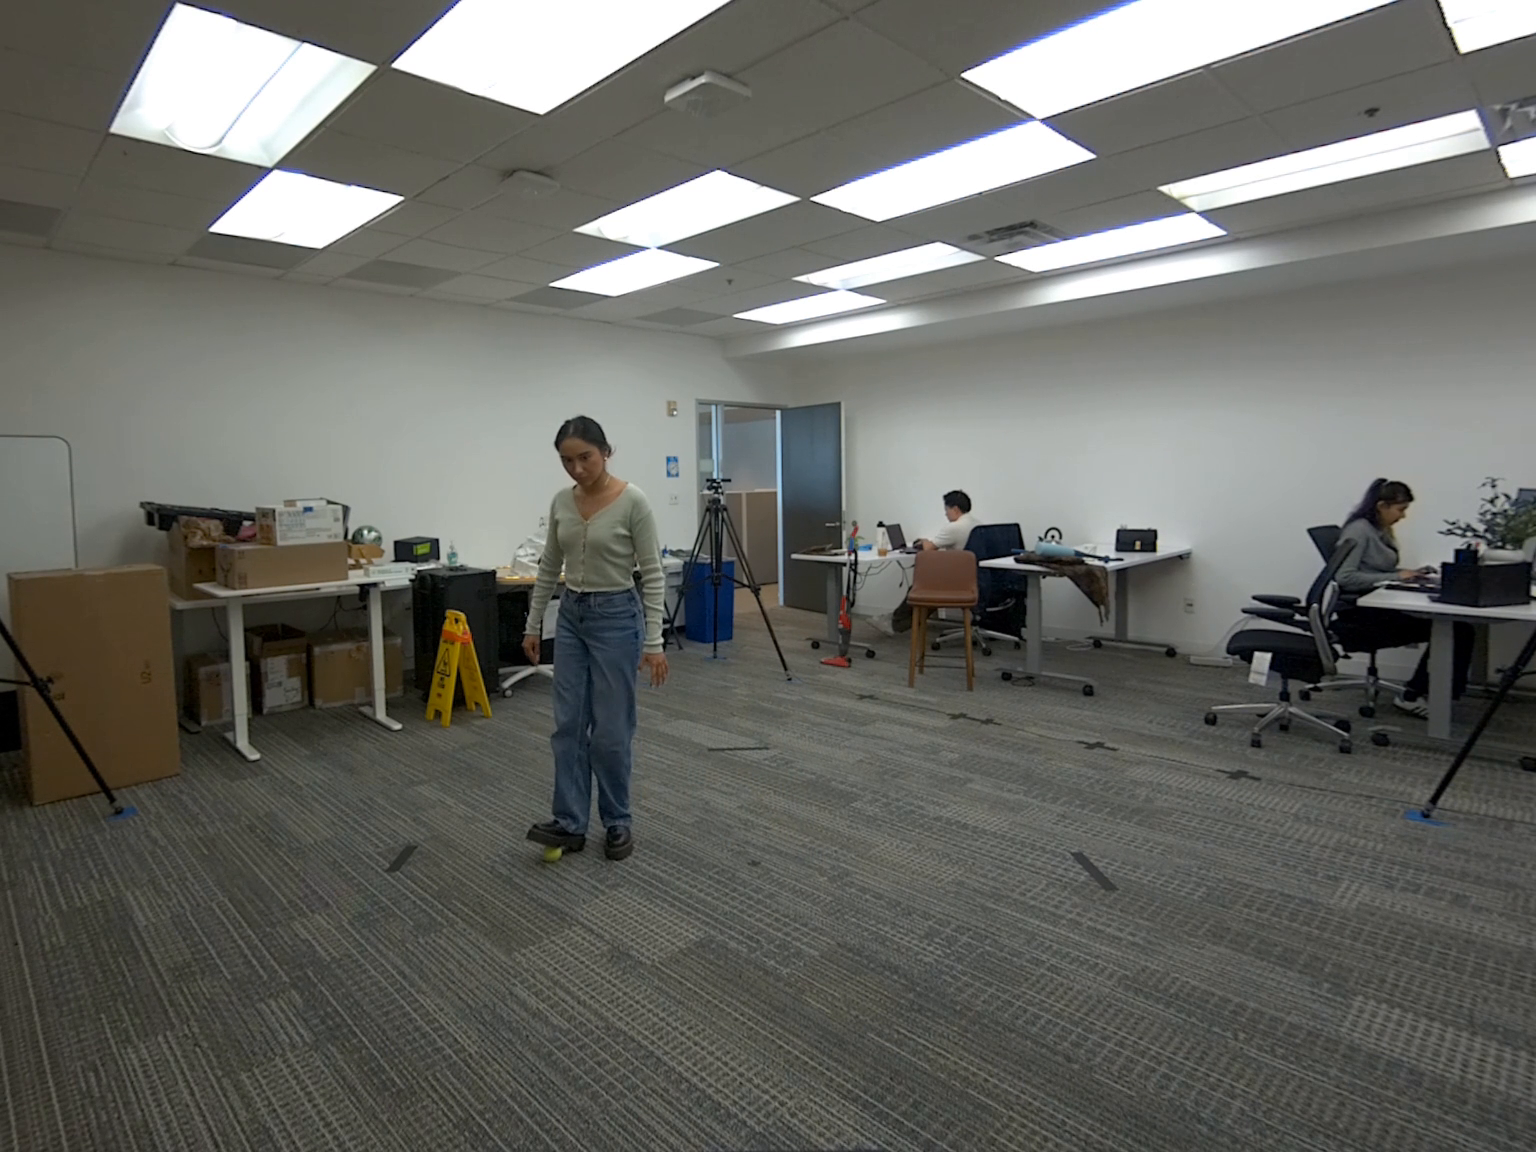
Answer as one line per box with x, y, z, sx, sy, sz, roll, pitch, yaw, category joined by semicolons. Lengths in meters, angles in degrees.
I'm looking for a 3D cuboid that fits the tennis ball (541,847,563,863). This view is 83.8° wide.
-0.801;1.027;3.171;0.066;0.066;0.067;-1;5;-2;tennis ball
